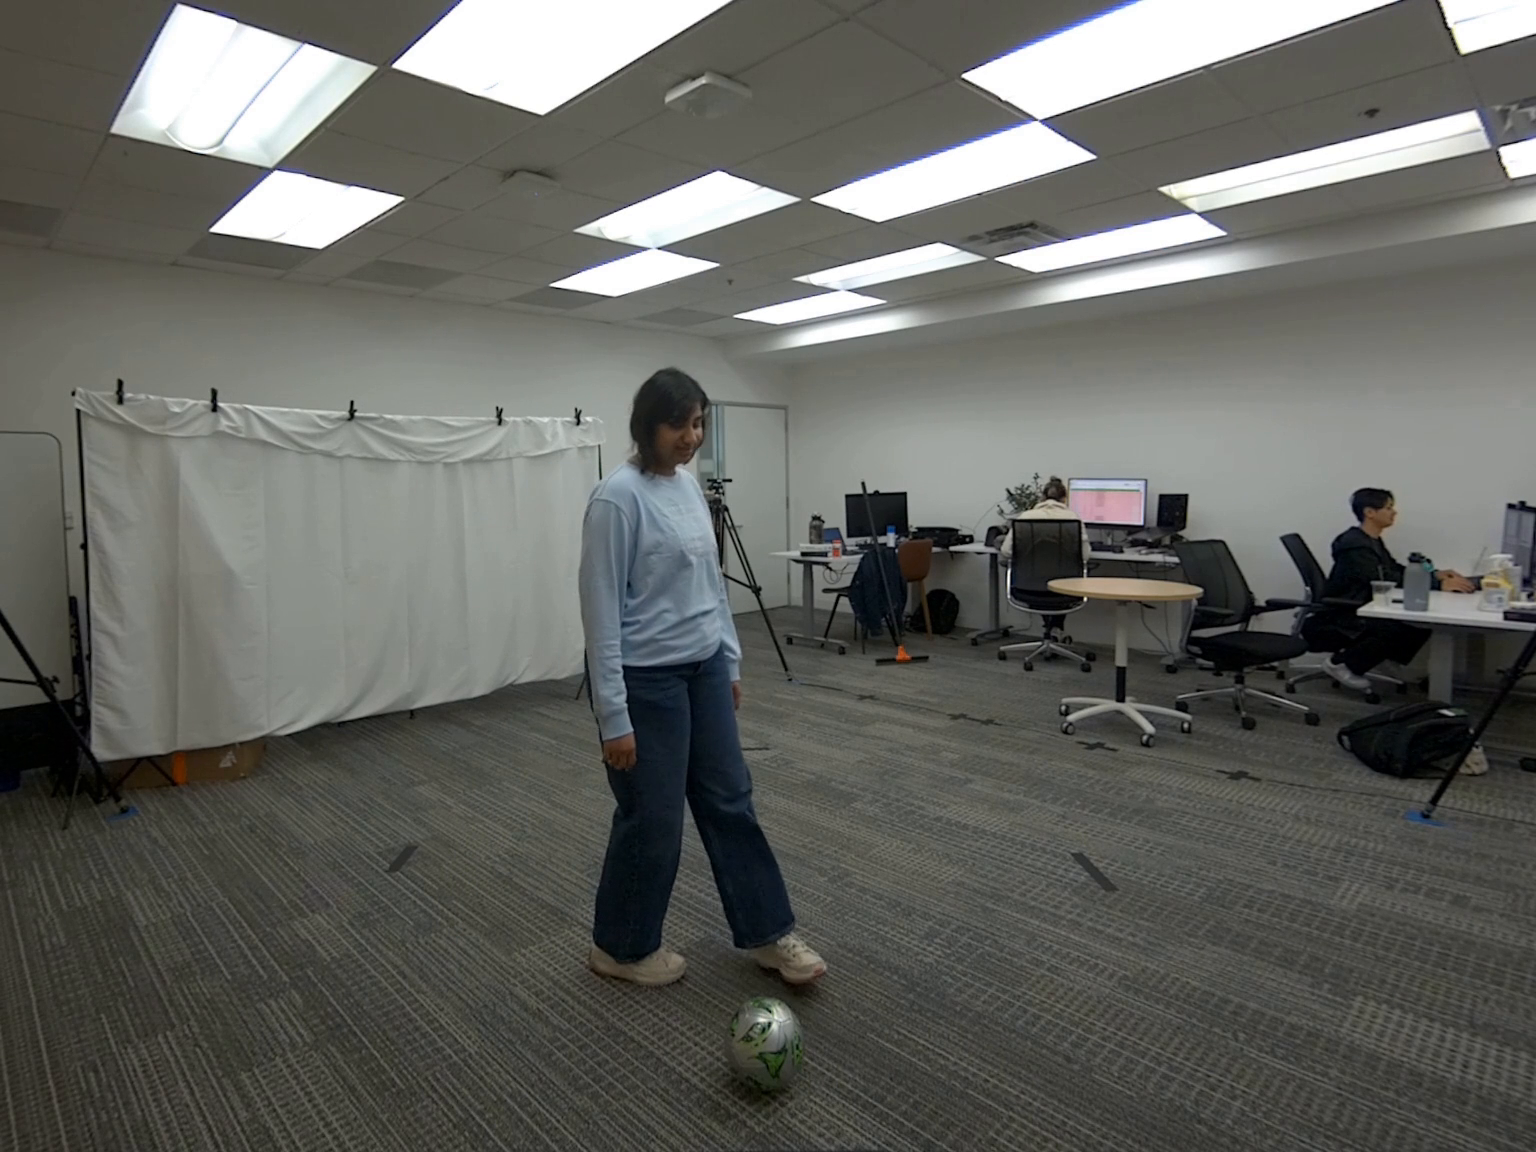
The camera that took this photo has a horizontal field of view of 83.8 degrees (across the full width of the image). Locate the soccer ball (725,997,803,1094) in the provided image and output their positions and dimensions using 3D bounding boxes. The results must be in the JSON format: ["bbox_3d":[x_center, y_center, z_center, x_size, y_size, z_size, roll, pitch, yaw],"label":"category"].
[{"bbox_3d":[-0.002,1.091,1.980,0.187,0.187,0.188,-1,5,-2],"label":"soccer ball"}]
